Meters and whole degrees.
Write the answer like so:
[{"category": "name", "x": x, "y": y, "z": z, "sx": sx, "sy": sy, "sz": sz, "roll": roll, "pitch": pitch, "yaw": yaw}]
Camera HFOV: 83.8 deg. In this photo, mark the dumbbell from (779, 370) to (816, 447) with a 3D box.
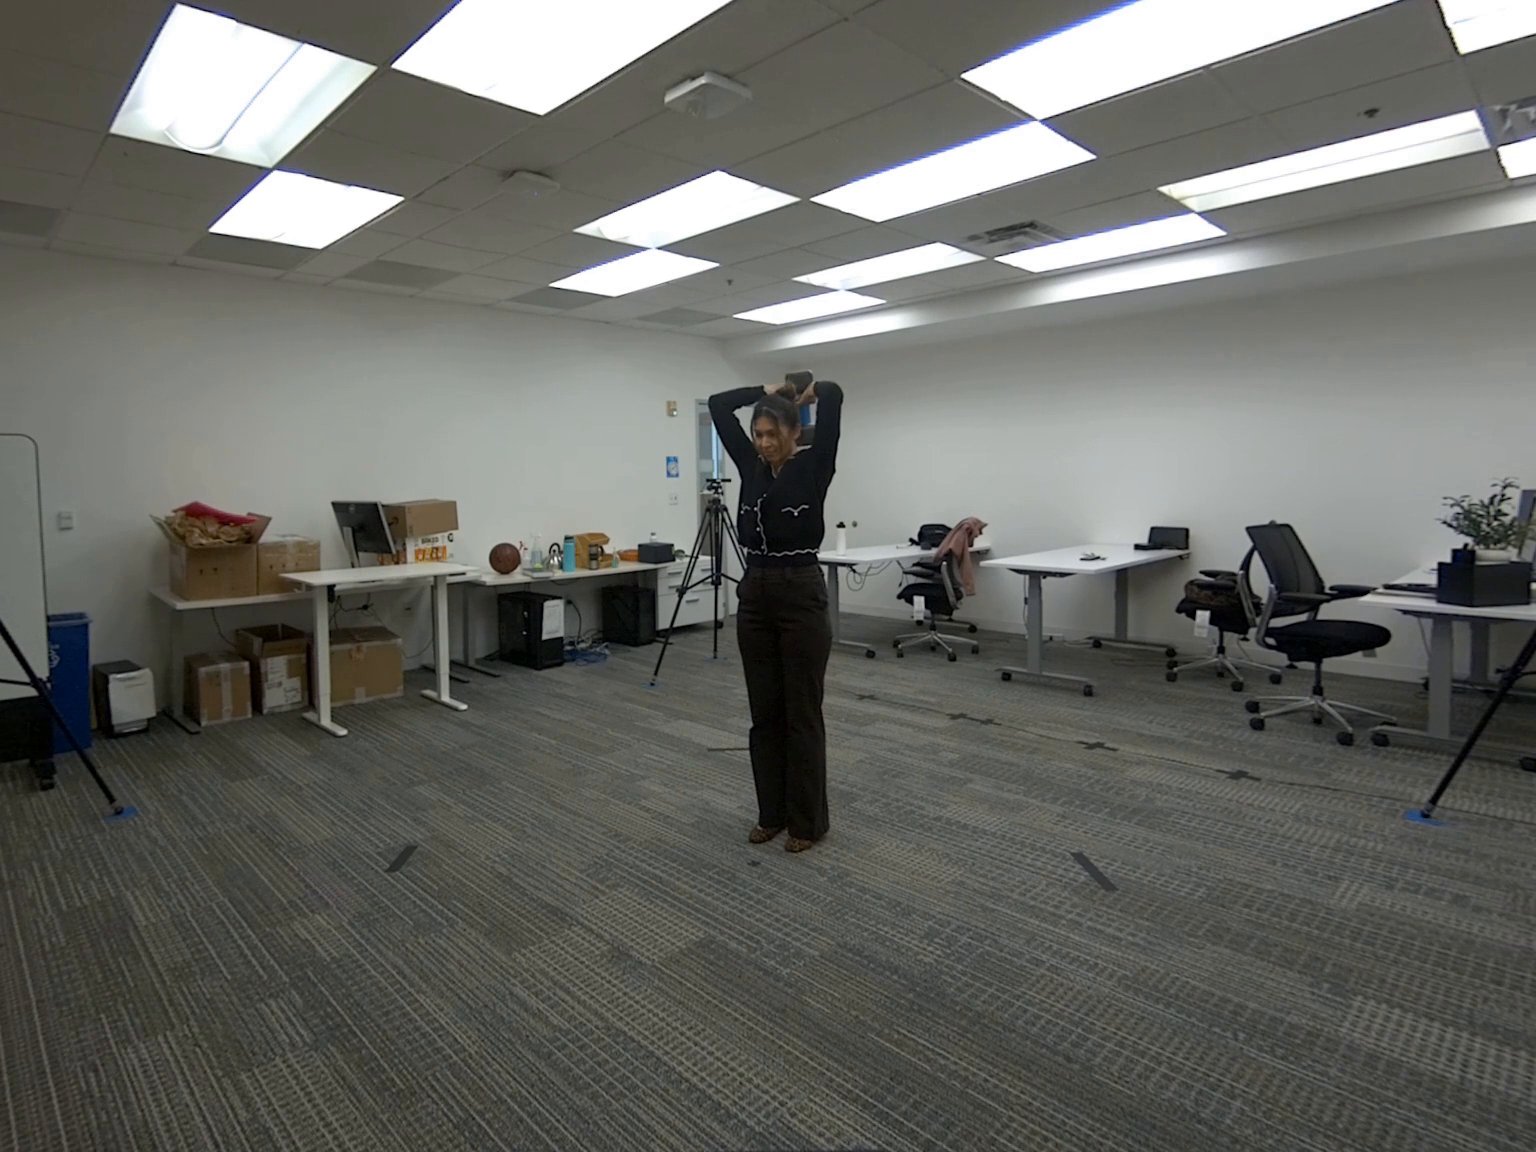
[{"category": "dumbbell", "x": 0.138, "y": -0.662, "z": 3.392, "sx": 0.109, "sy": 0.290, "sz": 0.123, "roll": -6, "pitch": 12, "yaw": 9}]
